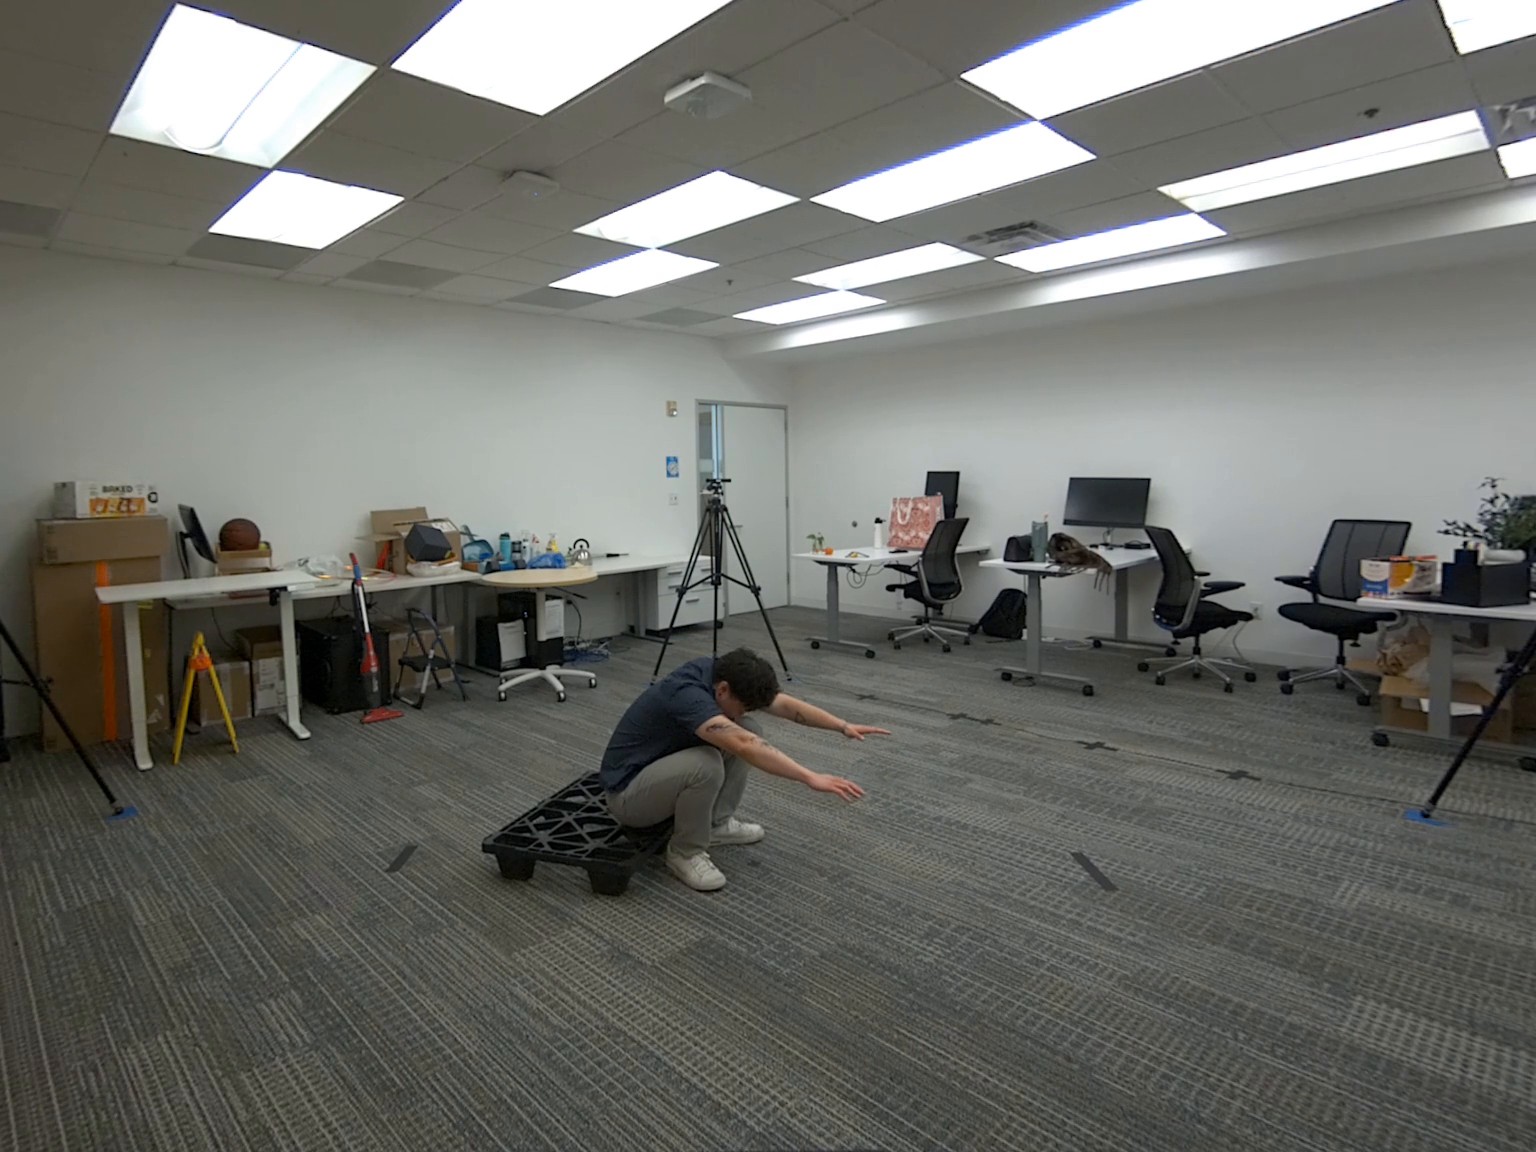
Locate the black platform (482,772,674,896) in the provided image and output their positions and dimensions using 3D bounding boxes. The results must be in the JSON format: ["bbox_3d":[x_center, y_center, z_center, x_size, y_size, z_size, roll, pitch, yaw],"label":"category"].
[{"bbox_3d":[-0.609,0.968,3.292,0.616,0.142,0.795,2,7,19],"label":"black platform"}]
